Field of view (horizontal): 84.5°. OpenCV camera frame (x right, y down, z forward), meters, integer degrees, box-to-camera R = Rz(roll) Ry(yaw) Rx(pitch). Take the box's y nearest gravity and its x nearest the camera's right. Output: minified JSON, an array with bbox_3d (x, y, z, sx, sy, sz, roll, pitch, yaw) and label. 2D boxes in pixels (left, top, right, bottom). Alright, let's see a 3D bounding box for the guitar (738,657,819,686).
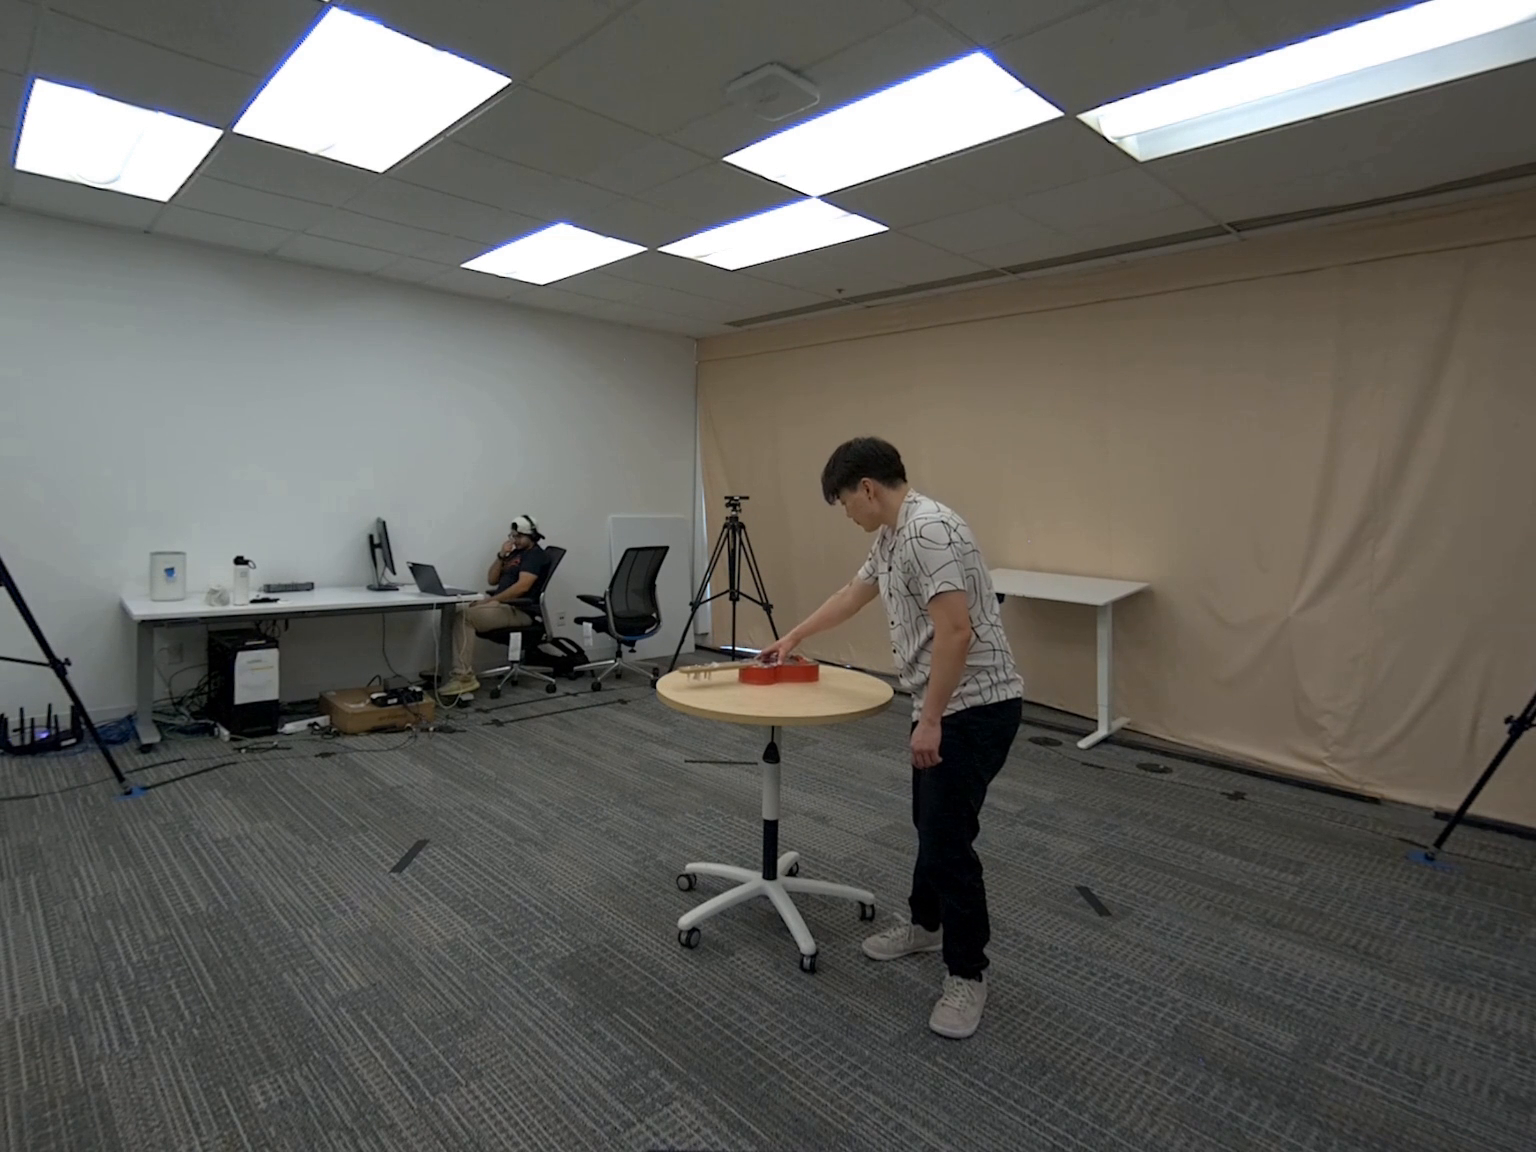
[{"bbox_3d":[-0.076,0.317,2.805,0.490,0.070,0.196,-1,5,-19],"label":"guitar"}]
